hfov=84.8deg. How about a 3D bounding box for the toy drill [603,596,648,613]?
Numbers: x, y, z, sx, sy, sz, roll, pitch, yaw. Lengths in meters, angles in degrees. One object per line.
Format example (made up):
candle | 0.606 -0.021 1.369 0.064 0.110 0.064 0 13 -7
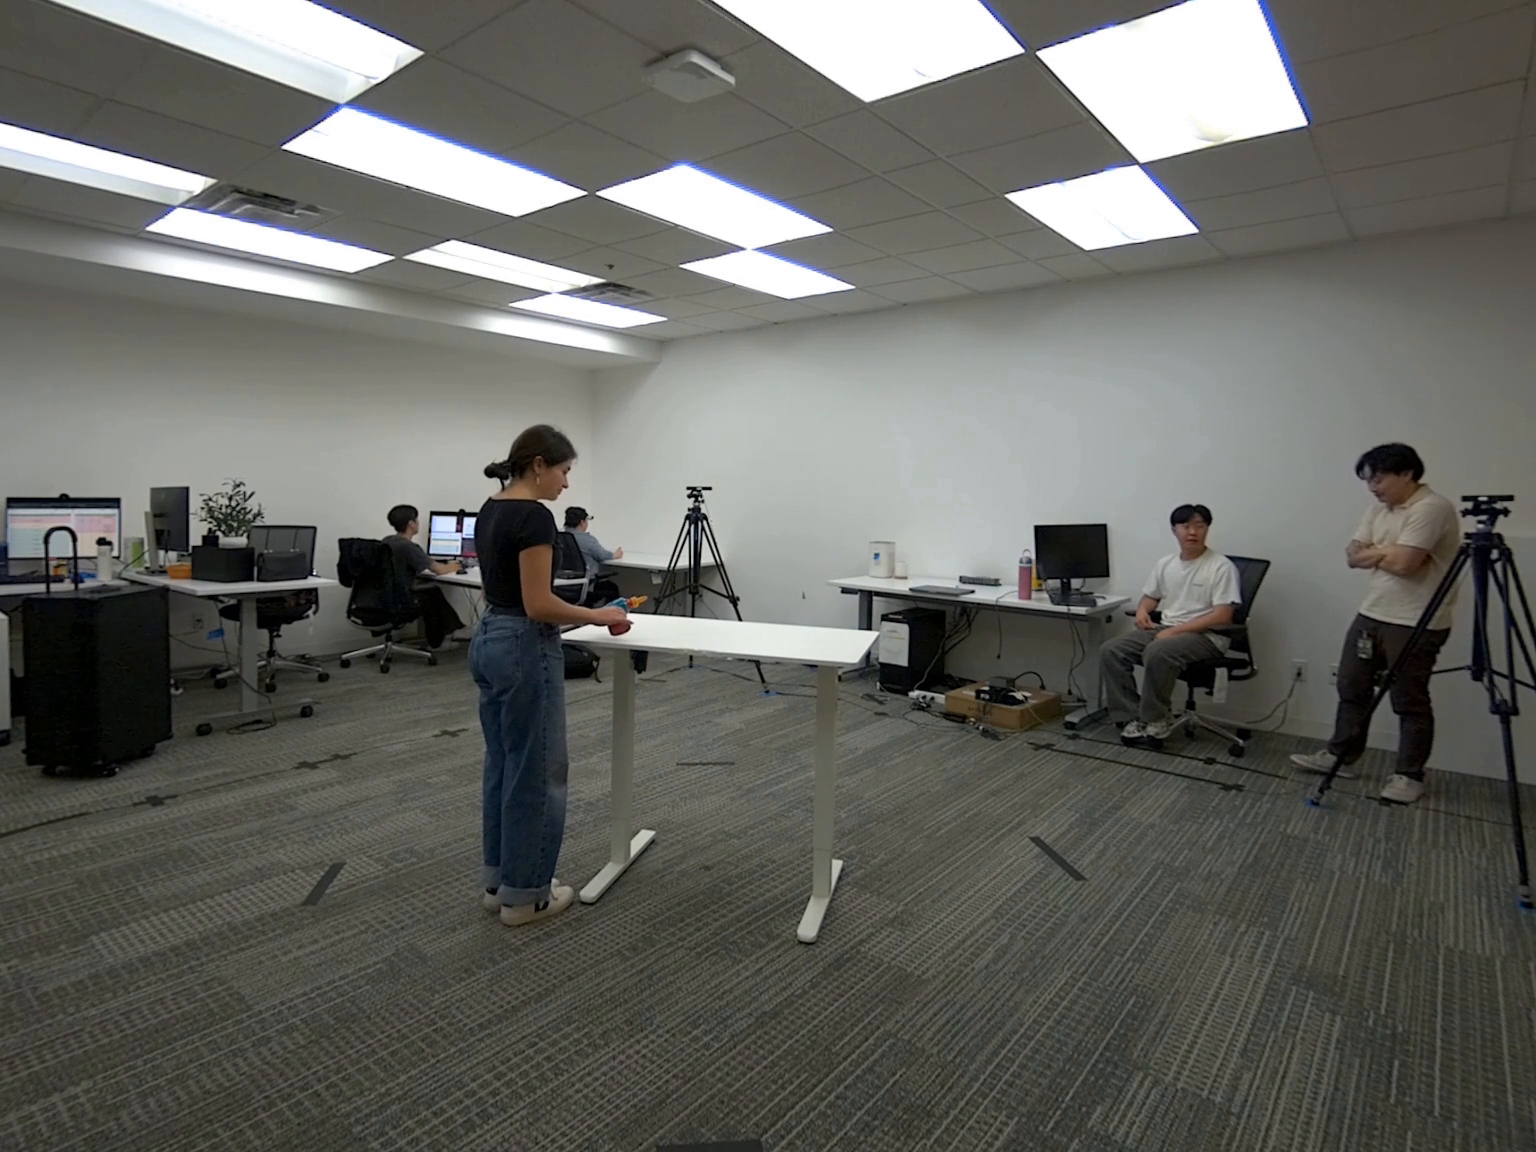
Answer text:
toy drill | -0.479 0.122 2.808 0.169 0.059 0.152 -21 34 -9
